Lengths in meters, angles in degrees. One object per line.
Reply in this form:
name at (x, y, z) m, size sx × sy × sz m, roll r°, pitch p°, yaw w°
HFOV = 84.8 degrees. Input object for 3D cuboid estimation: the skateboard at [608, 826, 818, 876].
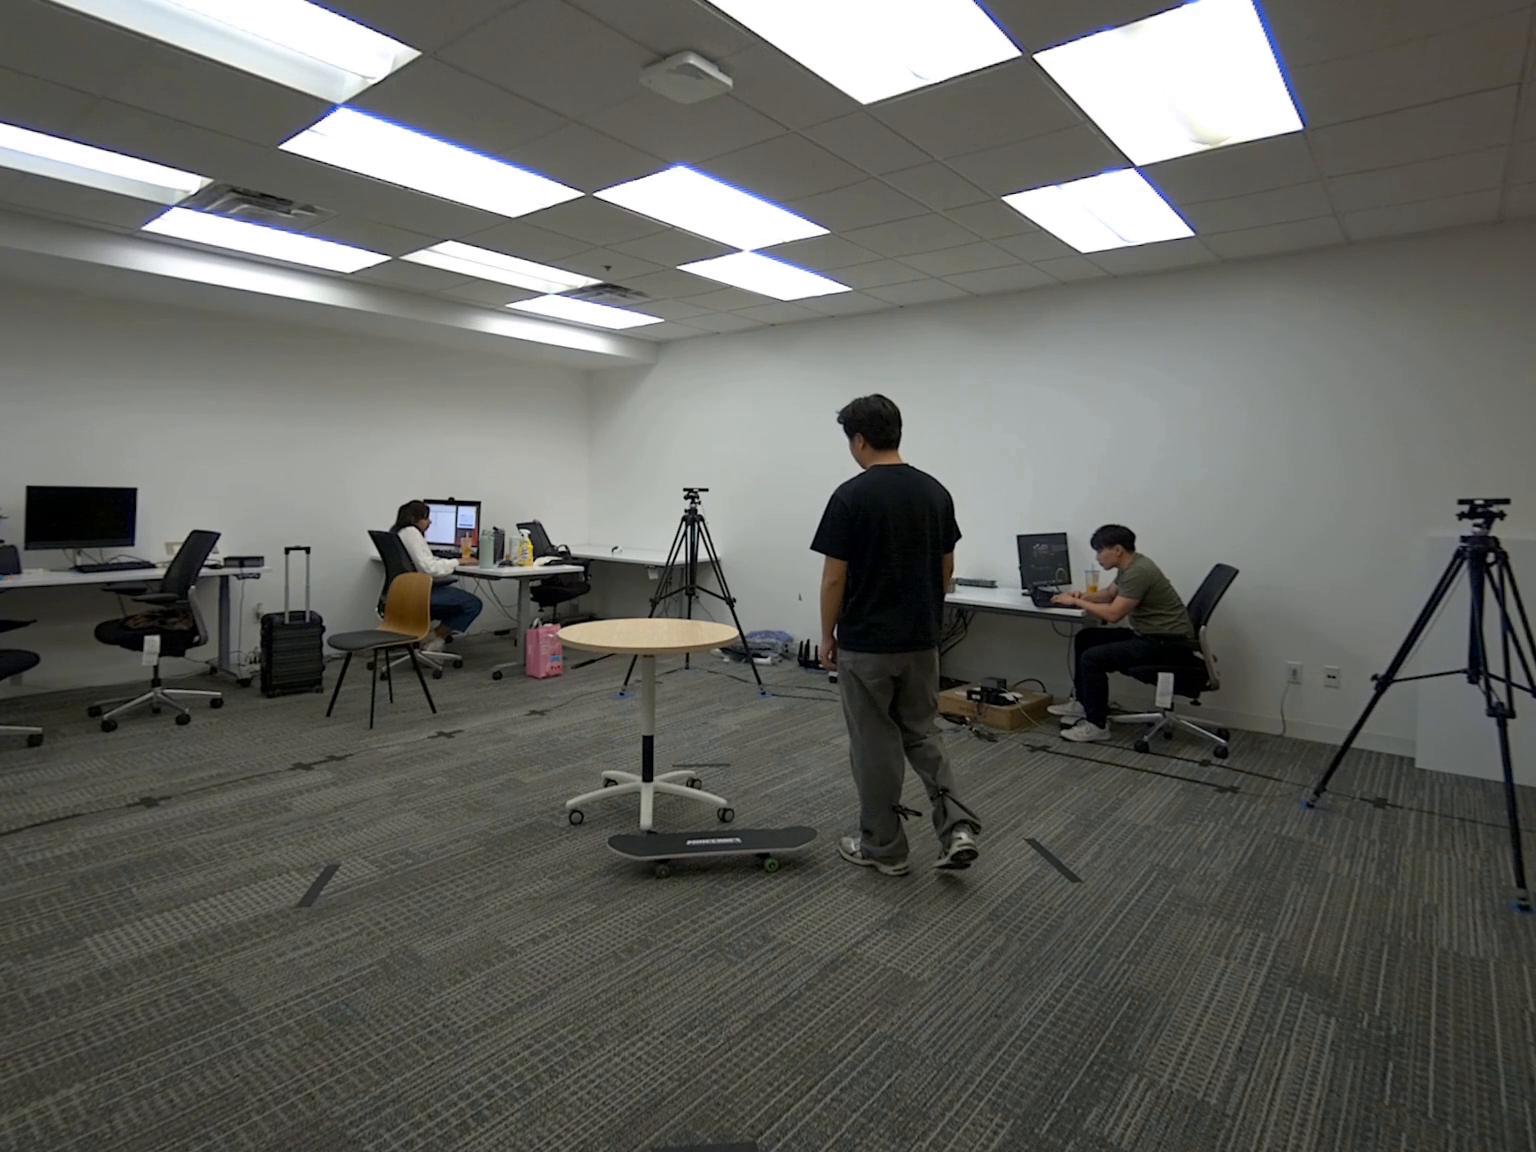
skateboard at (-0.208, 1.010, 3.145) m, size 0.776 × 0.110 × 0.196 m, roll -1°, pitch 4°, yaw -11°
